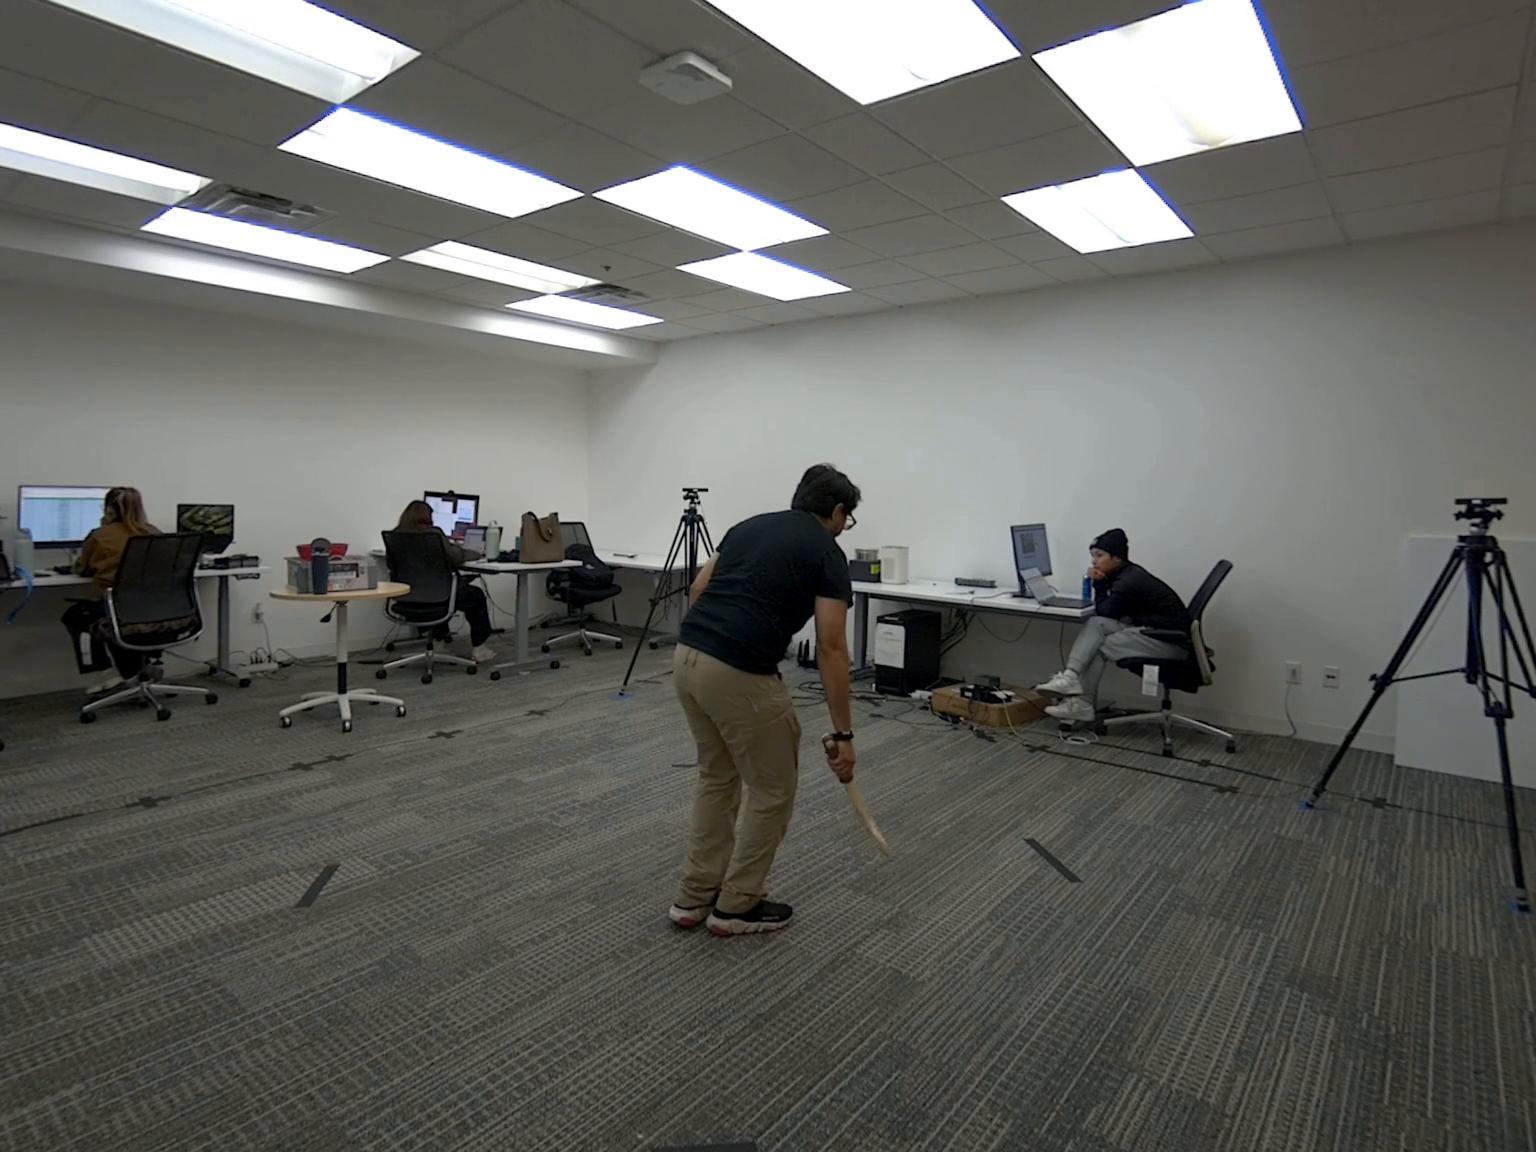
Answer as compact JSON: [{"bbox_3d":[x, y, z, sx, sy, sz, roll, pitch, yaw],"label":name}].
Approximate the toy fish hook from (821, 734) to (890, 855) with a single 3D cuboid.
[{"bbox_3d":[0.279,0.690,2.637,0.048,0.488,0.233,-33,34,-4],"label":"toy fish hook"}]
